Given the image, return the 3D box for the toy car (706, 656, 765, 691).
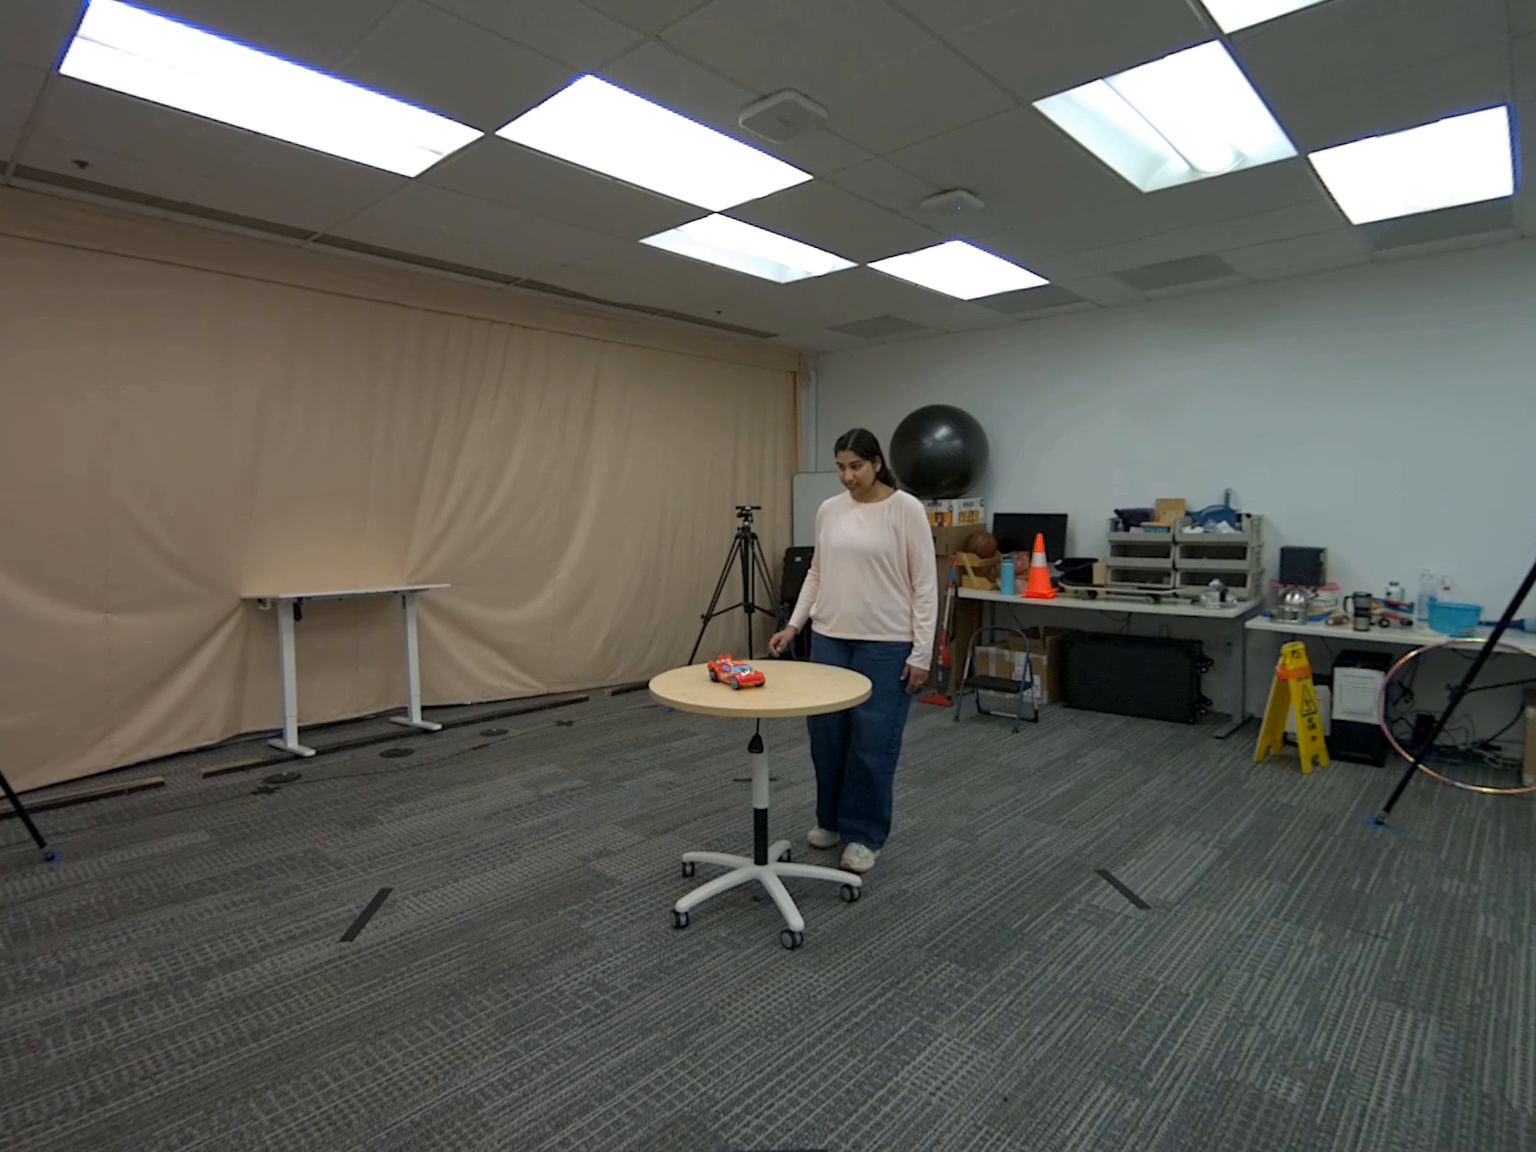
[{"bbox_3d":[-0.113,0.337,2.902,0.127,0.082,0.263,-4,17,-30],"label":"toy car"}]
